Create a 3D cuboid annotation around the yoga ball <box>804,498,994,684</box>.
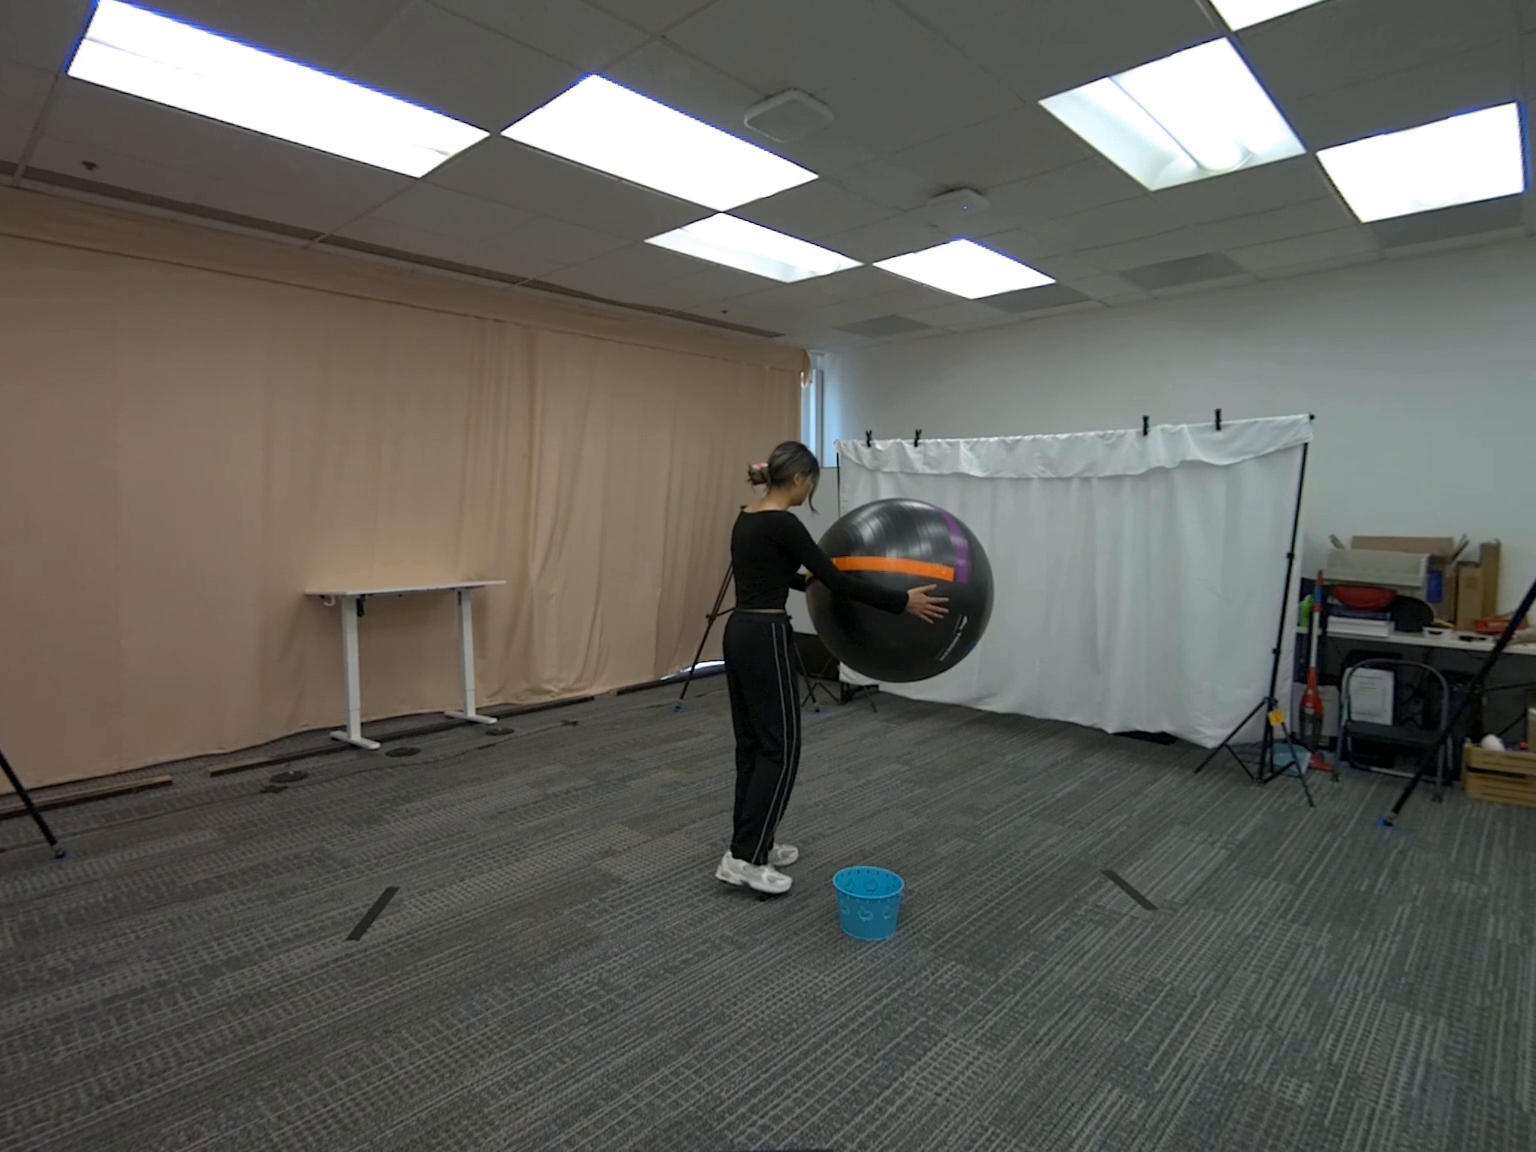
[{"bbox_3d":[0.555,0.060,3.480,0.757,0.756,0.760,0,4,-2],"label":"yoga ball"}]
